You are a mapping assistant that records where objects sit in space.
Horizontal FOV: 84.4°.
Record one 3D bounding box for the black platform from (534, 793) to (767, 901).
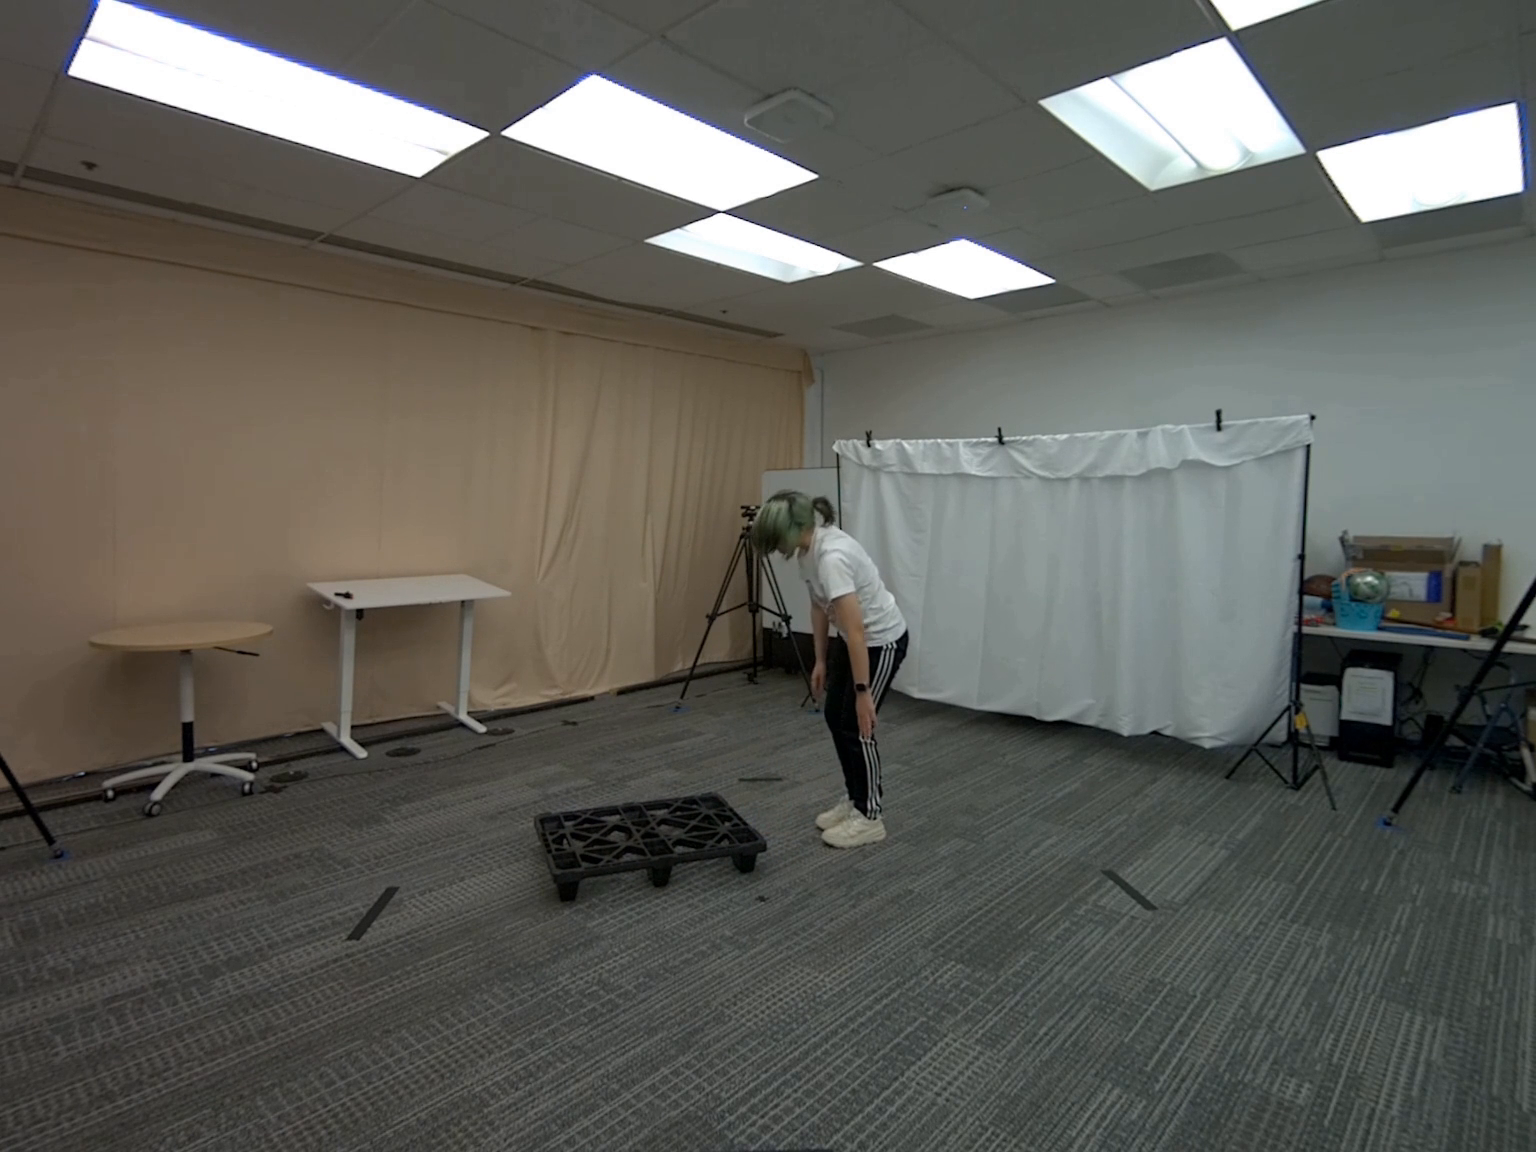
[{"bbox_3d":[-0.480,1.054,3.303,0.790,0.143,0.618,-2,4,-20],"label":"black platform"}]
